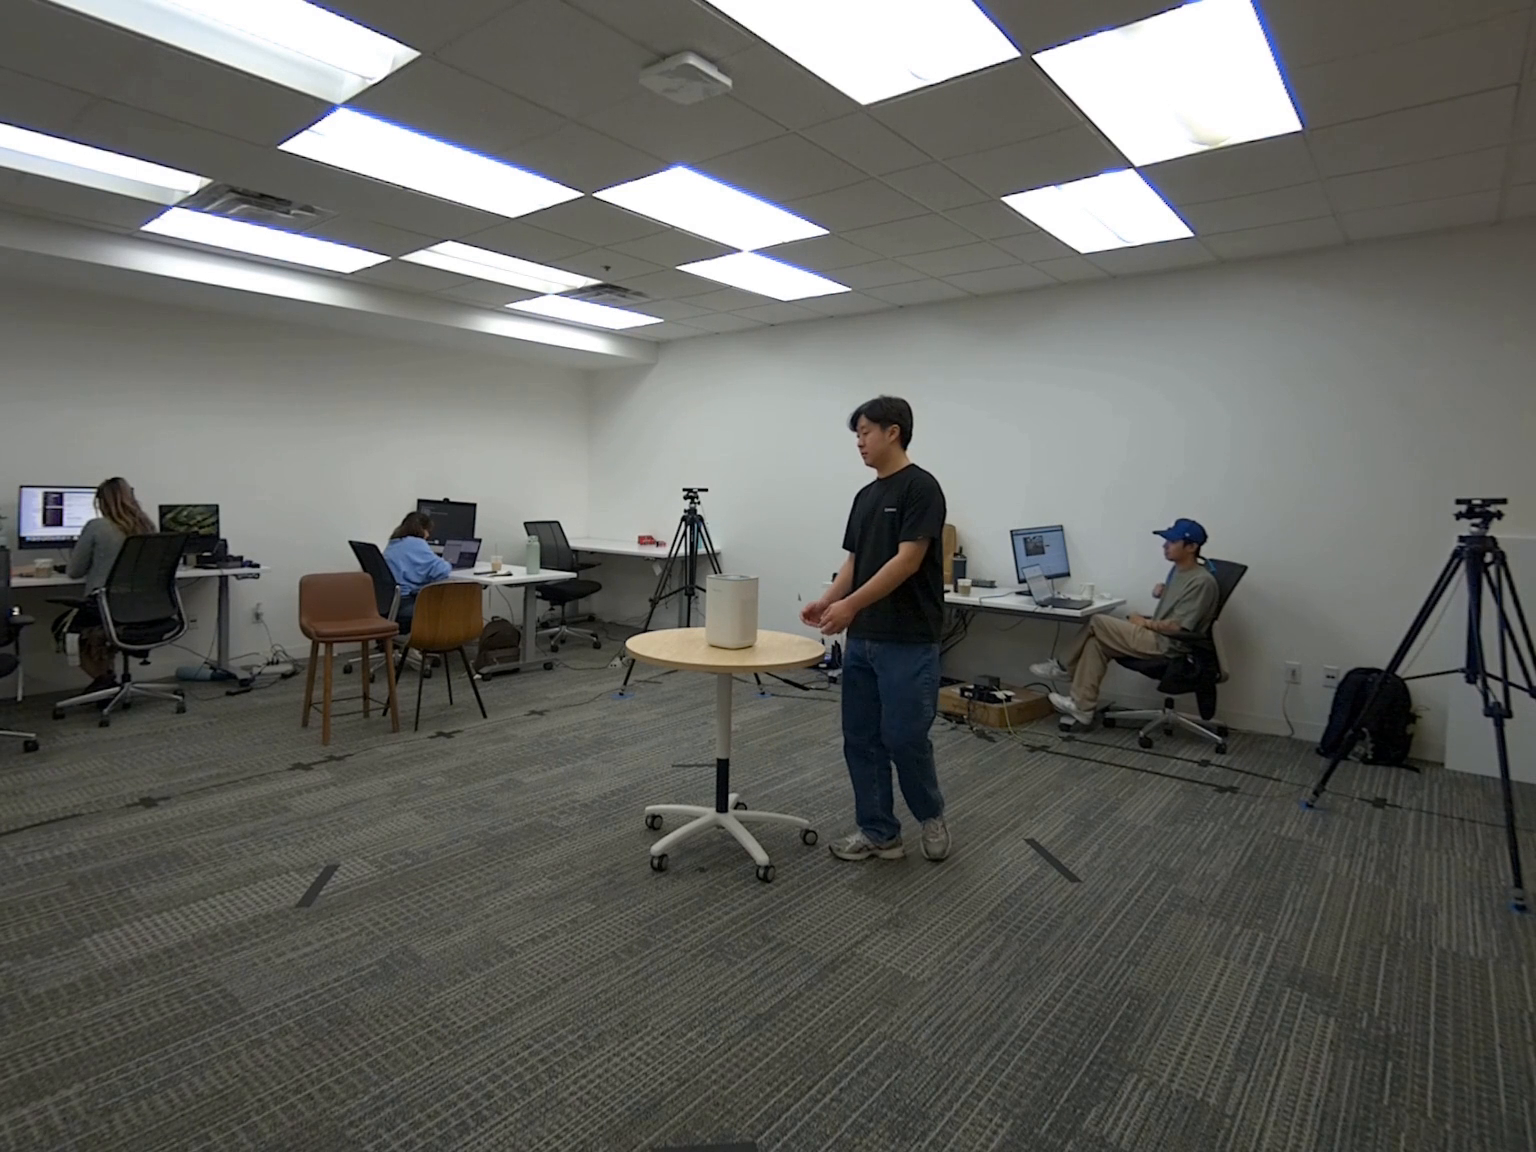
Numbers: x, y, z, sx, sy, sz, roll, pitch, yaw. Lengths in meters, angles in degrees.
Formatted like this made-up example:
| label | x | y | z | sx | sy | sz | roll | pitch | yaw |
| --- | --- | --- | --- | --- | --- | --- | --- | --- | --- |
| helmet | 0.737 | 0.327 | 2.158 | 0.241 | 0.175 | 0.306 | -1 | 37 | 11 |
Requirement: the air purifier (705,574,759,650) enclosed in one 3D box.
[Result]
| label | x | y | z | sx | sy | sz | roll | pitch | yaw |
| --- | --- | --- | --- | --- | --- | --- | --- | --- | --- |
| air purifier | -0.148 | 0.131 | 3.254 | 0.177 | 0.265 | 0.166 | 3 | 3 | 39 |
